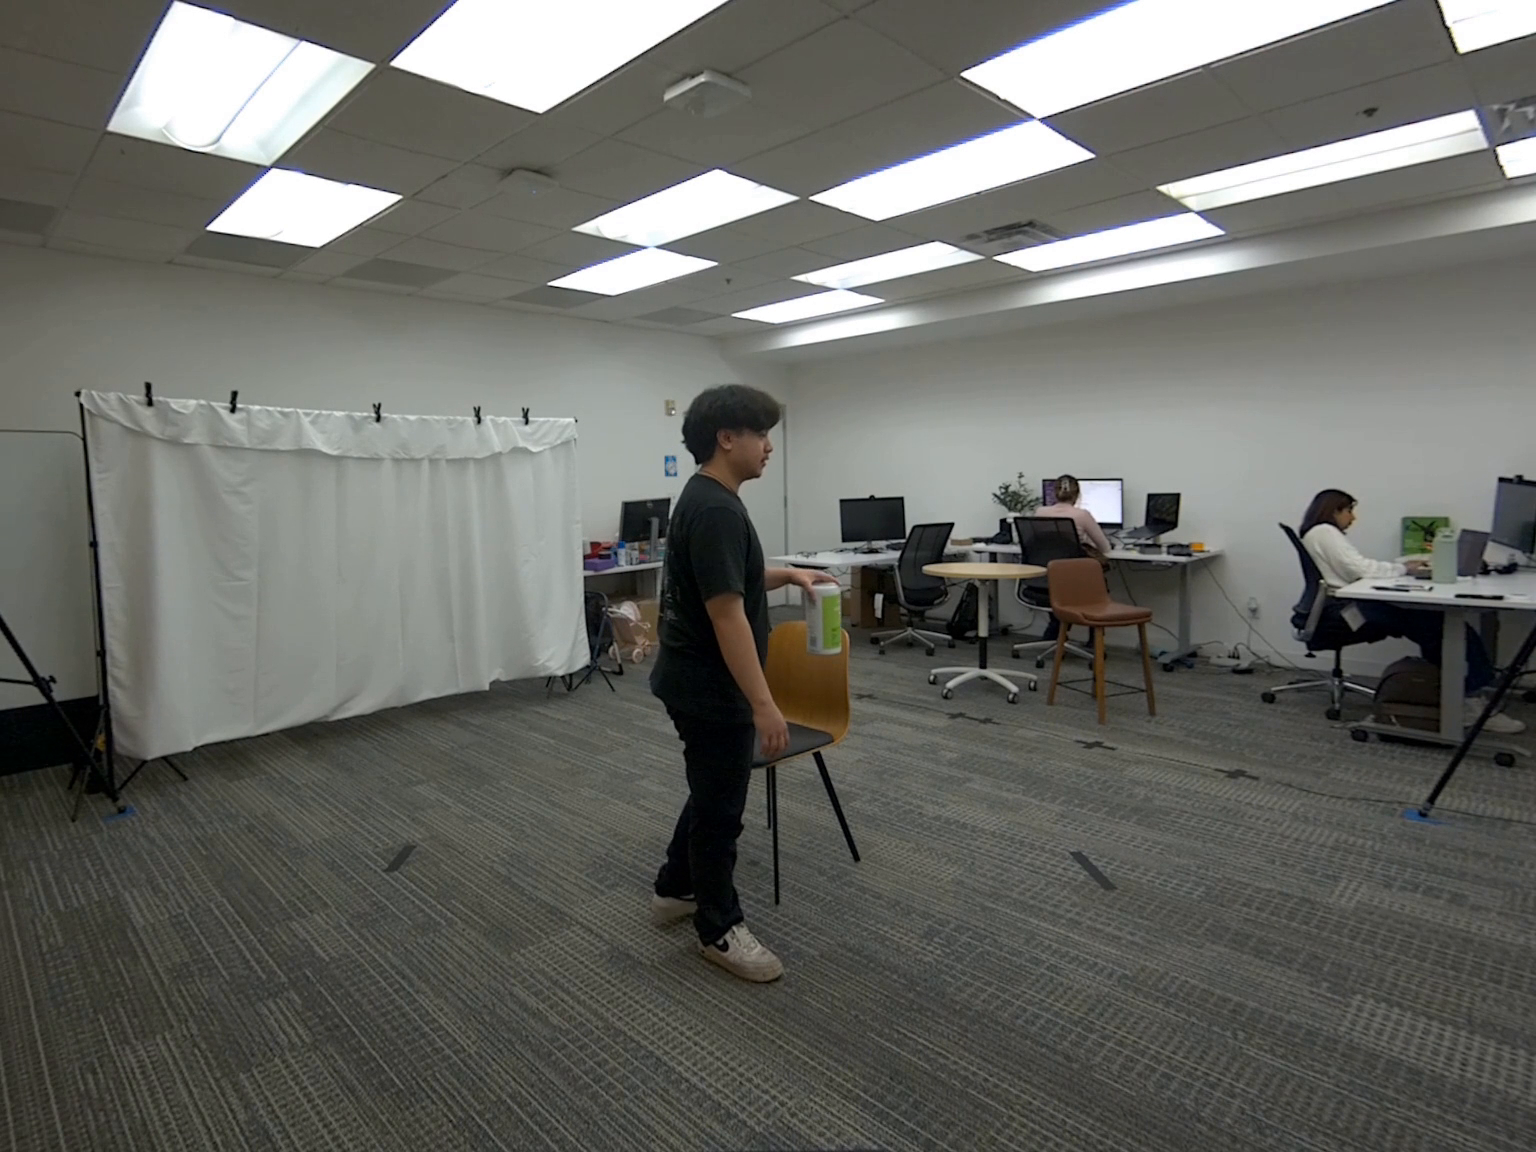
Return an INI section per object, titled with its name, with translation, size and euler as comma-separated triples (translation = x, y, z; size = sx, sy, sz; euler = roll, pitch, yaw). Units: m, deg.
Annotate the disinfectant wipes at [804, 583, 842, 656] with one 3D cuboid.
[disinfectant wipes]
translation = 0.175, 0.132, 2.667
size = 0.118, 0.216, 0.118
euler = -4, 5, -1
